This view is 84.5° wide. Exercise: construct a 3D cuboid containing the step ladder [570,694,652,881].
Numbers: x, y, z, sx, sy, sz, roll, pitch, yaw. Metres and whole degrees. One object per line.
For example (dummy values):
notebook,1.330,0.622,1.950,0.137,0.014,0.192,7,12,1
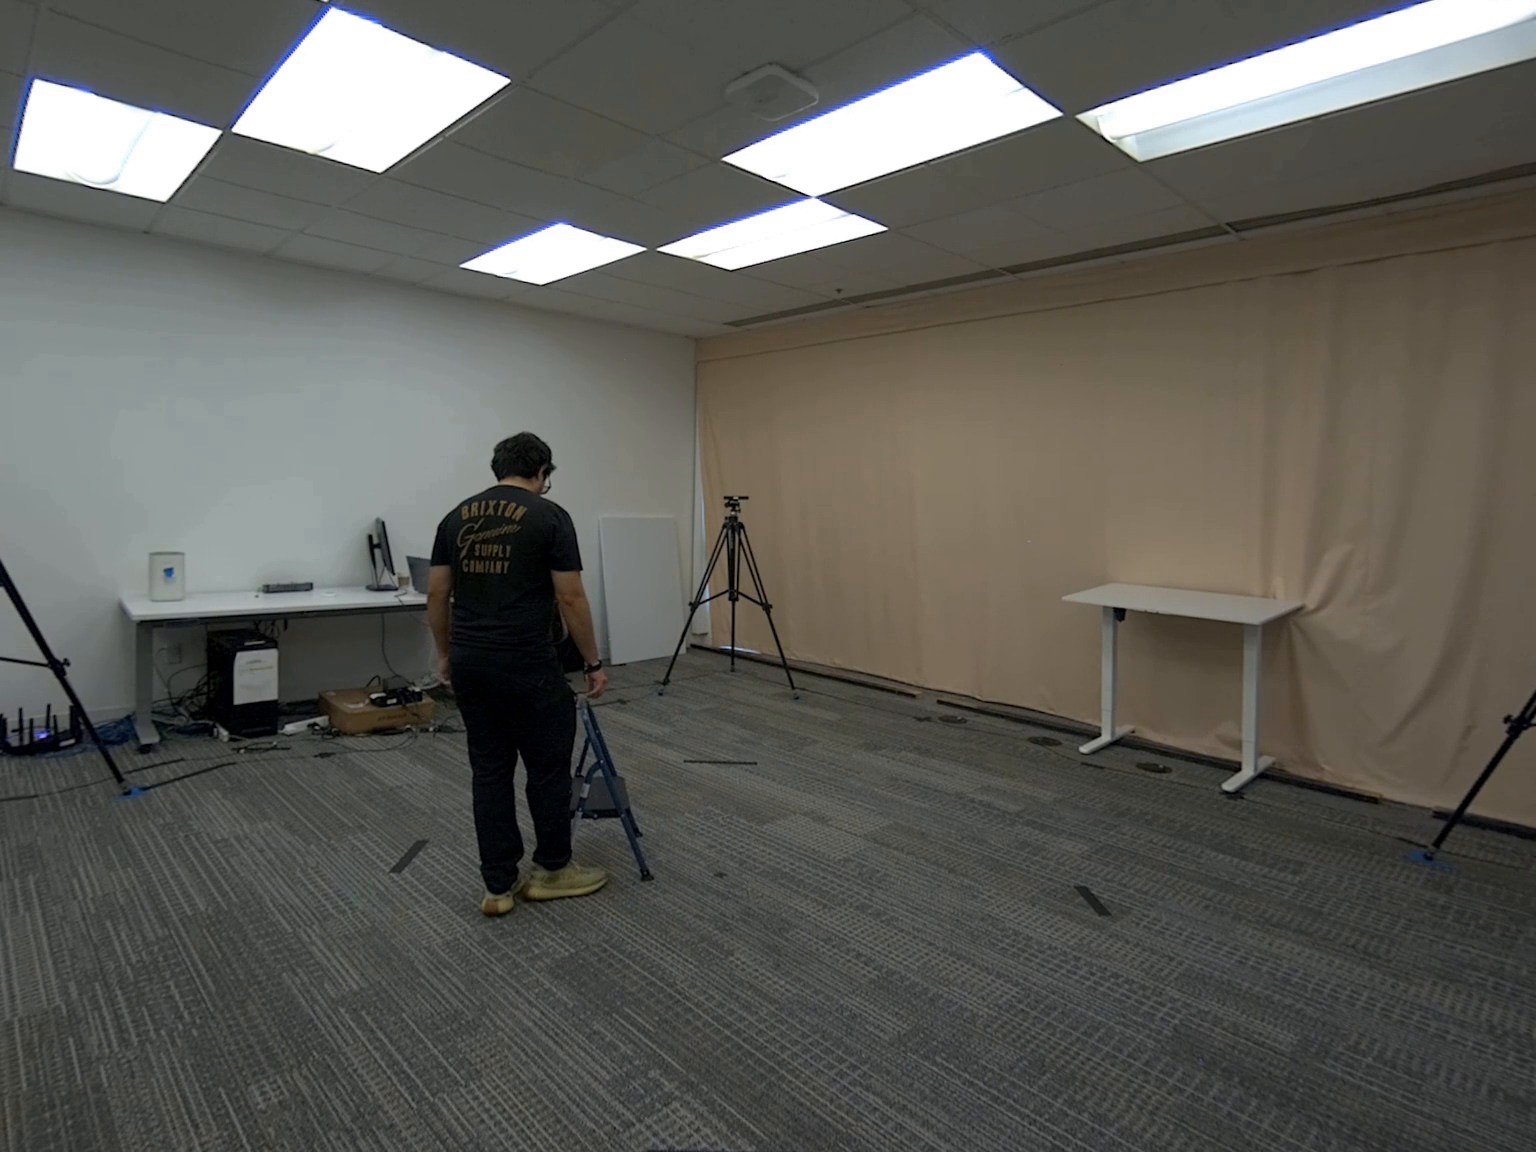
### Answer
step ladder,-0.634,0.780,3.207,0.345,0.605,0.436,1,4,-14
